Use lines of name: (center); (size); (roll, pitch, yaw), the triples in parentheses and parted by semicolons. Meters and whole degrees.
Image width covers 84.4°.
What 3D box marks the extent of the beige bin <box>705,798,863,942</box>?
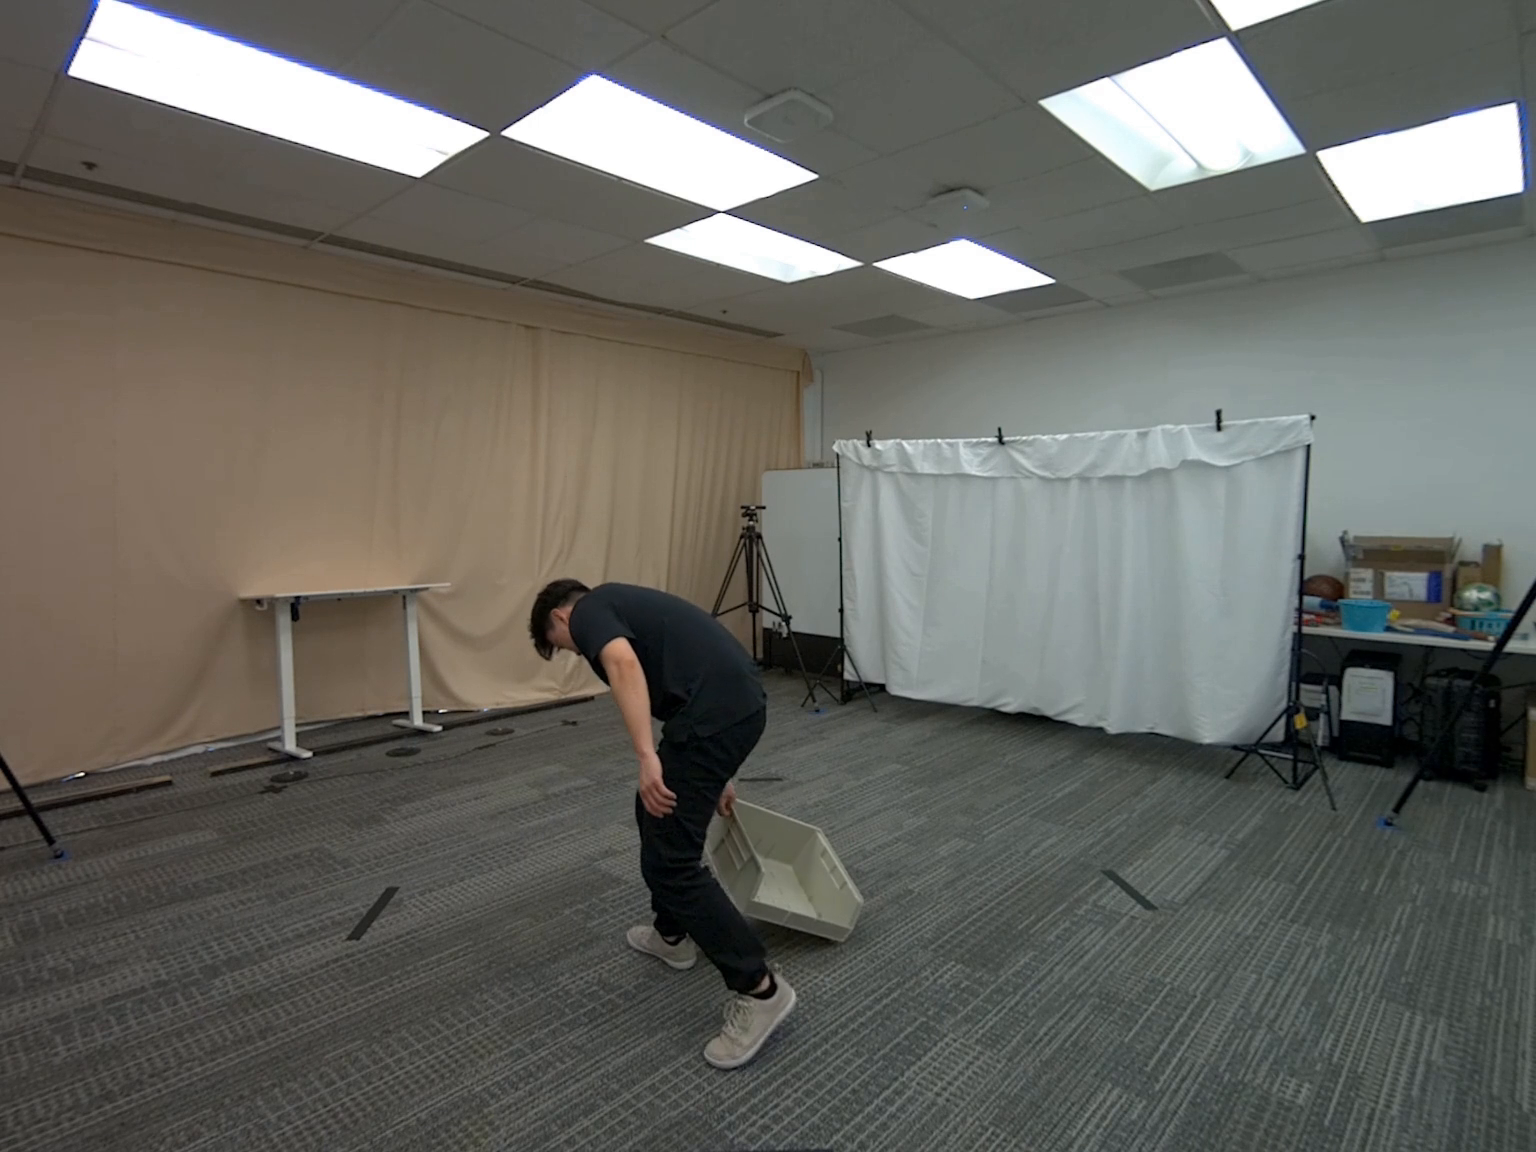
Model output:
beige bin: (0.046, 0.960, 2.724); (0.409, 0.189, 0.389); (27, 11, -29)
